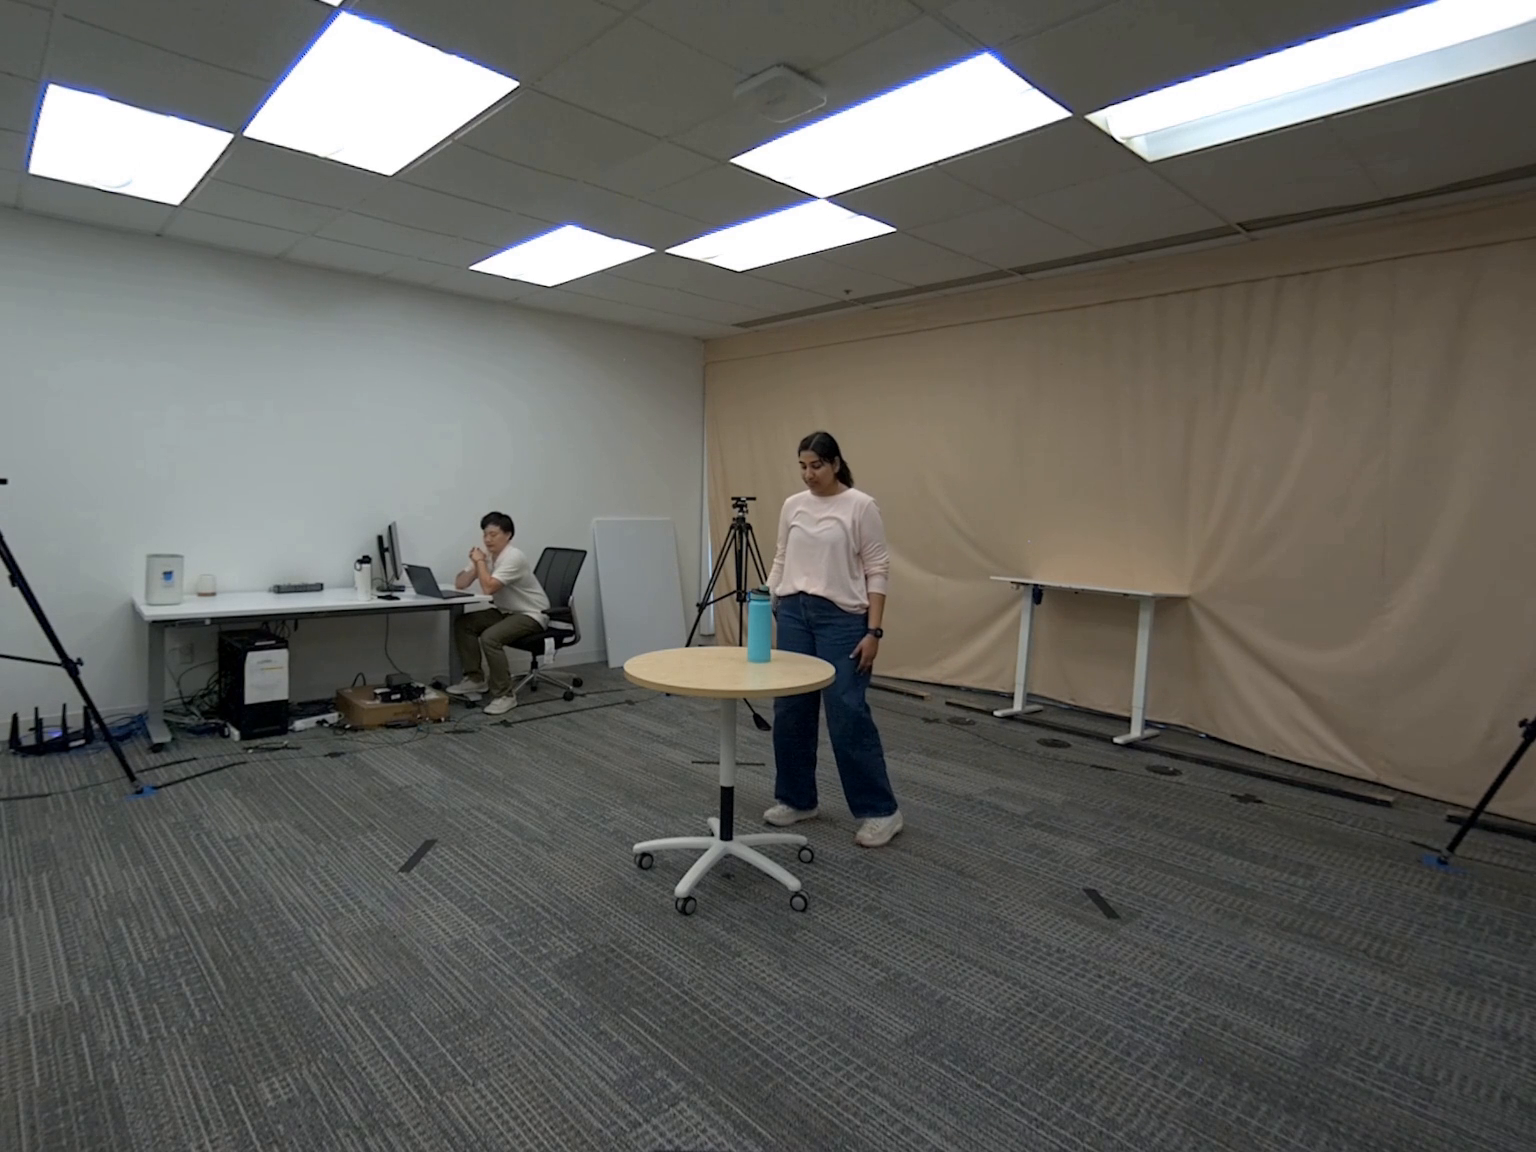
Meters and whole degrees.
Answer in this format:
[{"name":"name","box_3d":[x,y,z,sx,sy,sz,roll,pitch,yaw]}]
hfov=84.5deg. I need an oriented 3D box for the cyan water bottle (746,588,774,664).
[{"name":"cyan water bottle","box_3d":[-0.041,0.178,3.159,0.092,0.283,0.092,1,2,-1]}]
